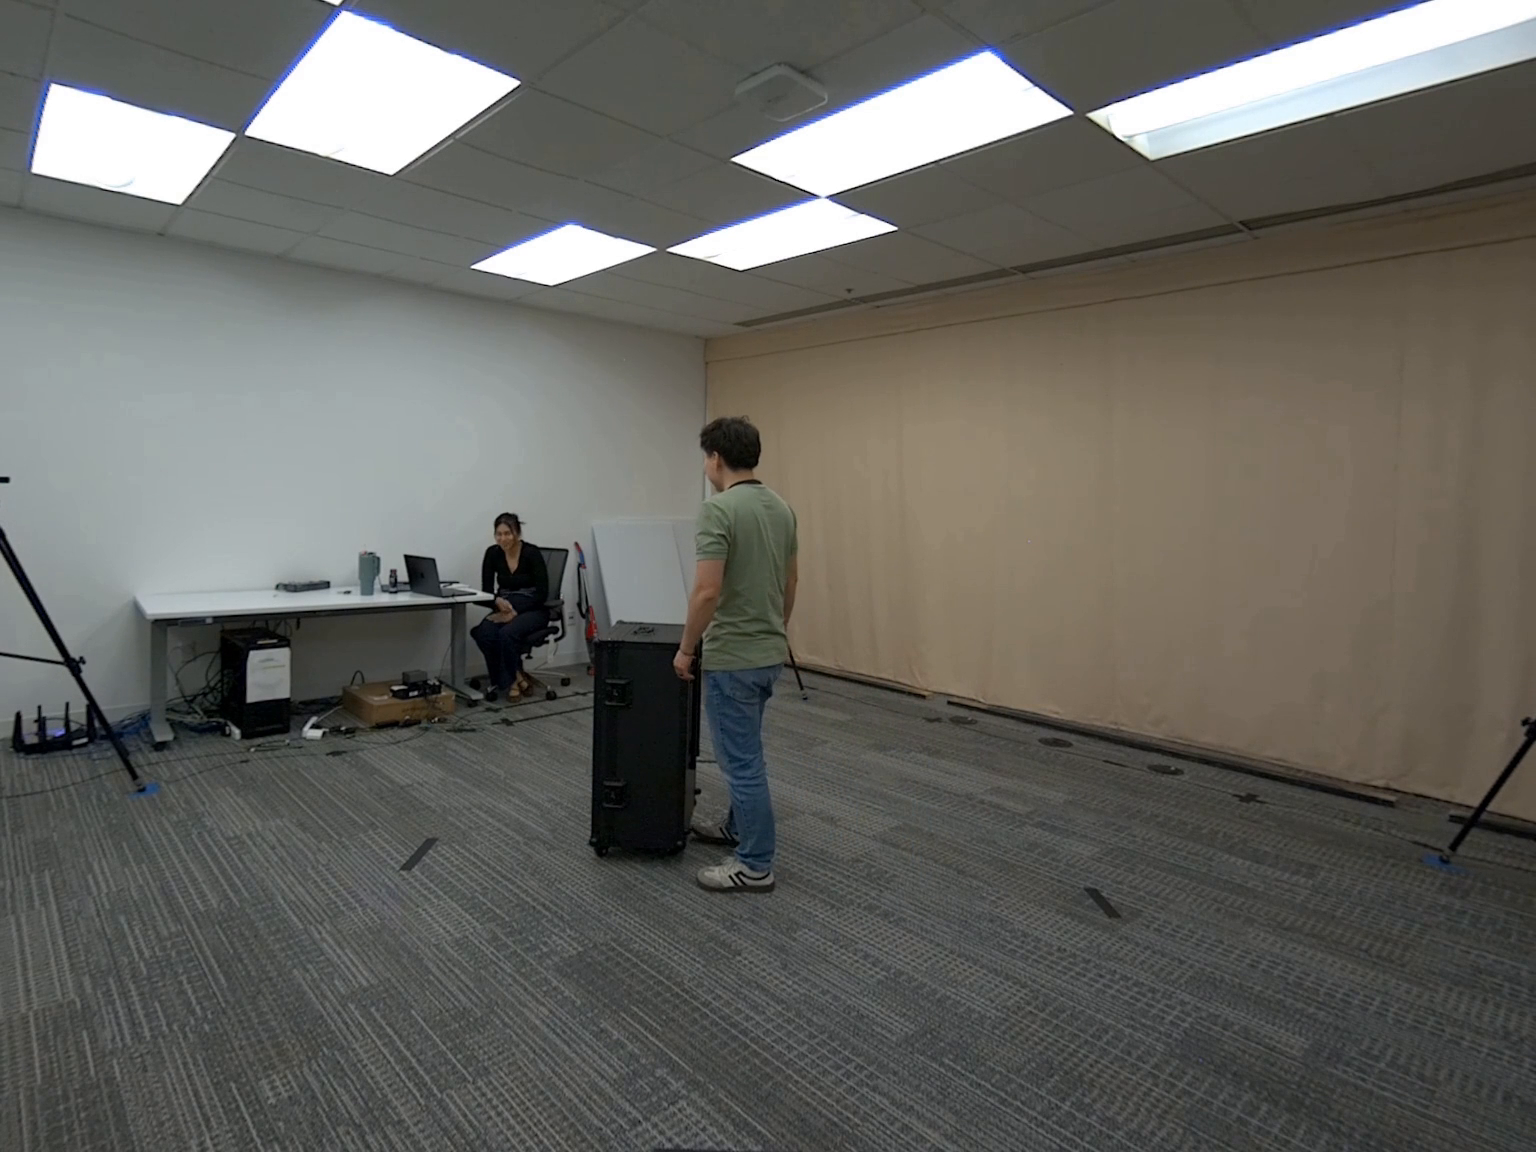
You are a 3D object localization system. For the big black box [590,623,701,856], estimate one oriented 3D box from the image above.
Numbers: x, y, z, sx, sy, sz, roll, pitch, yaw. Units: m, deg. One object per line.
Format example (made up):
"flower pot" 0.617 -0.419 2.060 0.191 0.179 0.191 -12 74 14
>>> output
"big black box" -0.478 0.646 3.378 0.397 0.859 0.521 3 4 2
